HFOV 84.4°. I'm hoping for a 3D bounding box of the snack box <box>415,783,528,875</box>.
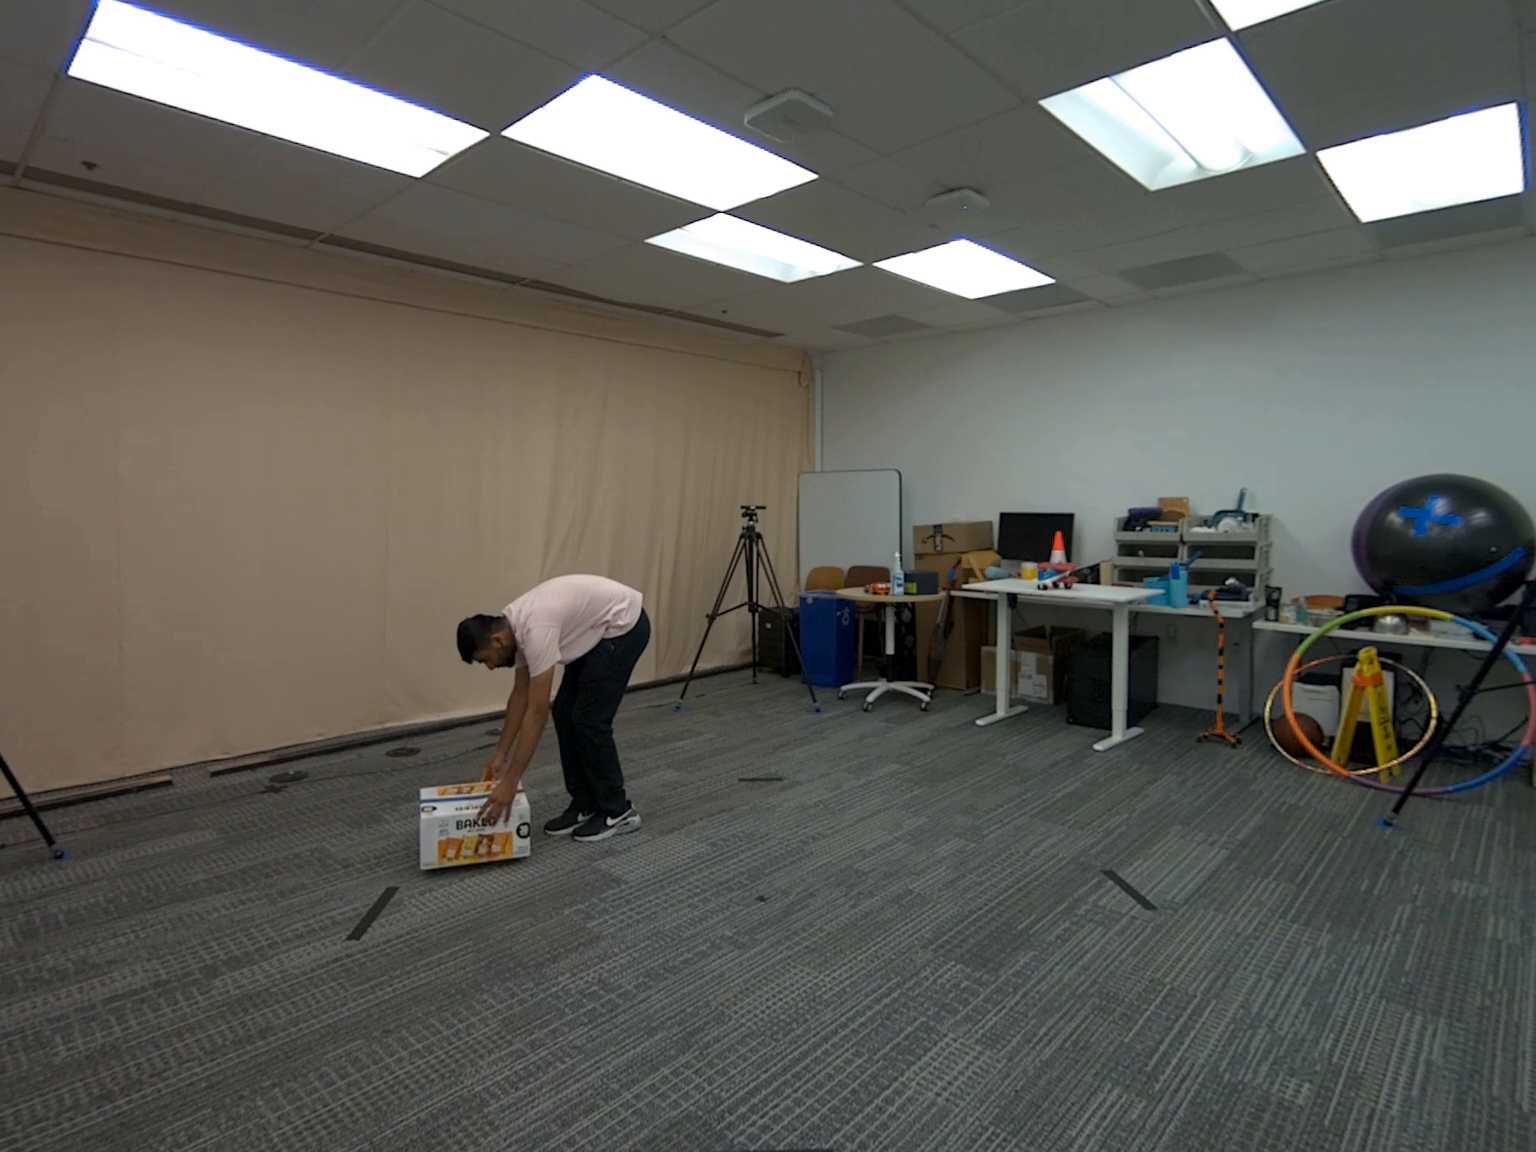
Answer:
[{"bbox_3d":[-1.183,0.983,3.354,0.397,0.205,0.348,-1,5,-21],"label":"snack box"}]
